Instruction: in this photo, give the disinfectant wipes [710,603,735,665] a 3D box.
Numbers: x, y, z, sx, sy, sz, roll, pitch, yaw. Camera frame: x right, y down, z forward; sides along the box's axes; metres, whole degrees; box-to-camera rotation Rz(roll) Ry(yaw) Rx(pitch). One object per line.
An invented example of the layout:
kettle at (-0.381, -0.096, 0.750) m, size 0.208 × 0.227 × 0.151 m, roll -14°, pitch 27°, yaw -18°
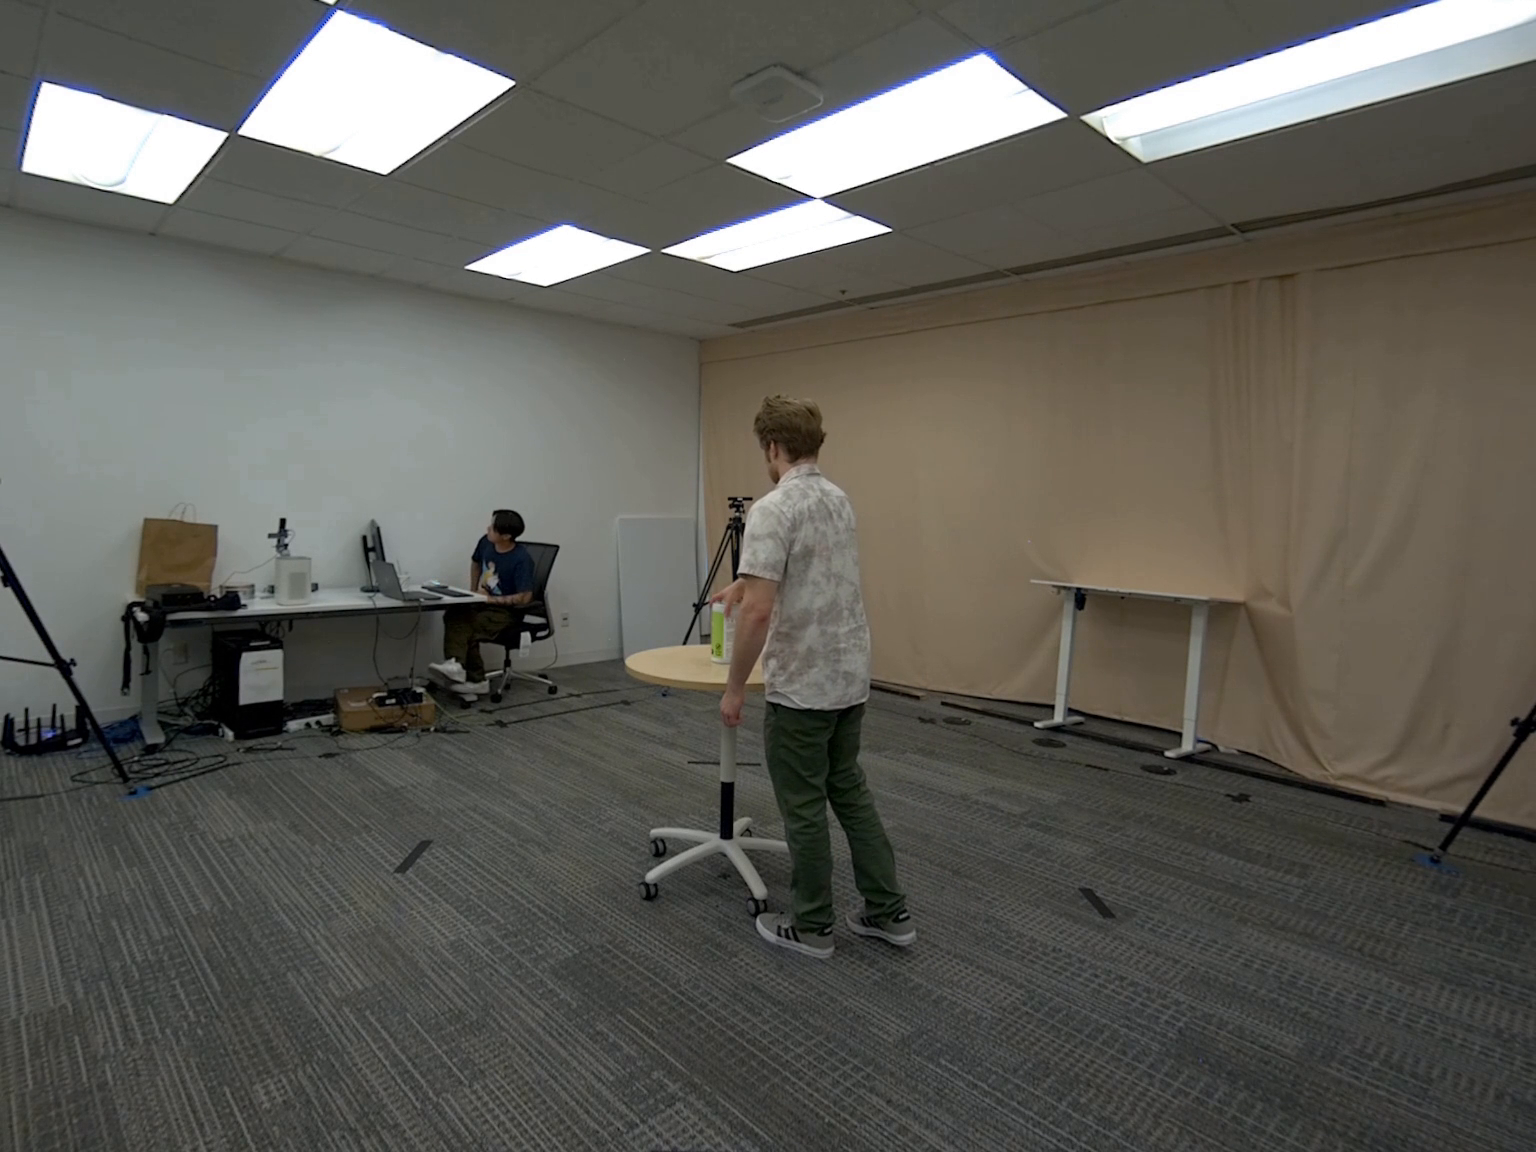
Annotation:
disinfectant wipes at (-0.155, 0.210, 3.082) m, size 0.118 × 0.217 × 0.118 m, roll 1°, pitch 3°, yaw -1°
